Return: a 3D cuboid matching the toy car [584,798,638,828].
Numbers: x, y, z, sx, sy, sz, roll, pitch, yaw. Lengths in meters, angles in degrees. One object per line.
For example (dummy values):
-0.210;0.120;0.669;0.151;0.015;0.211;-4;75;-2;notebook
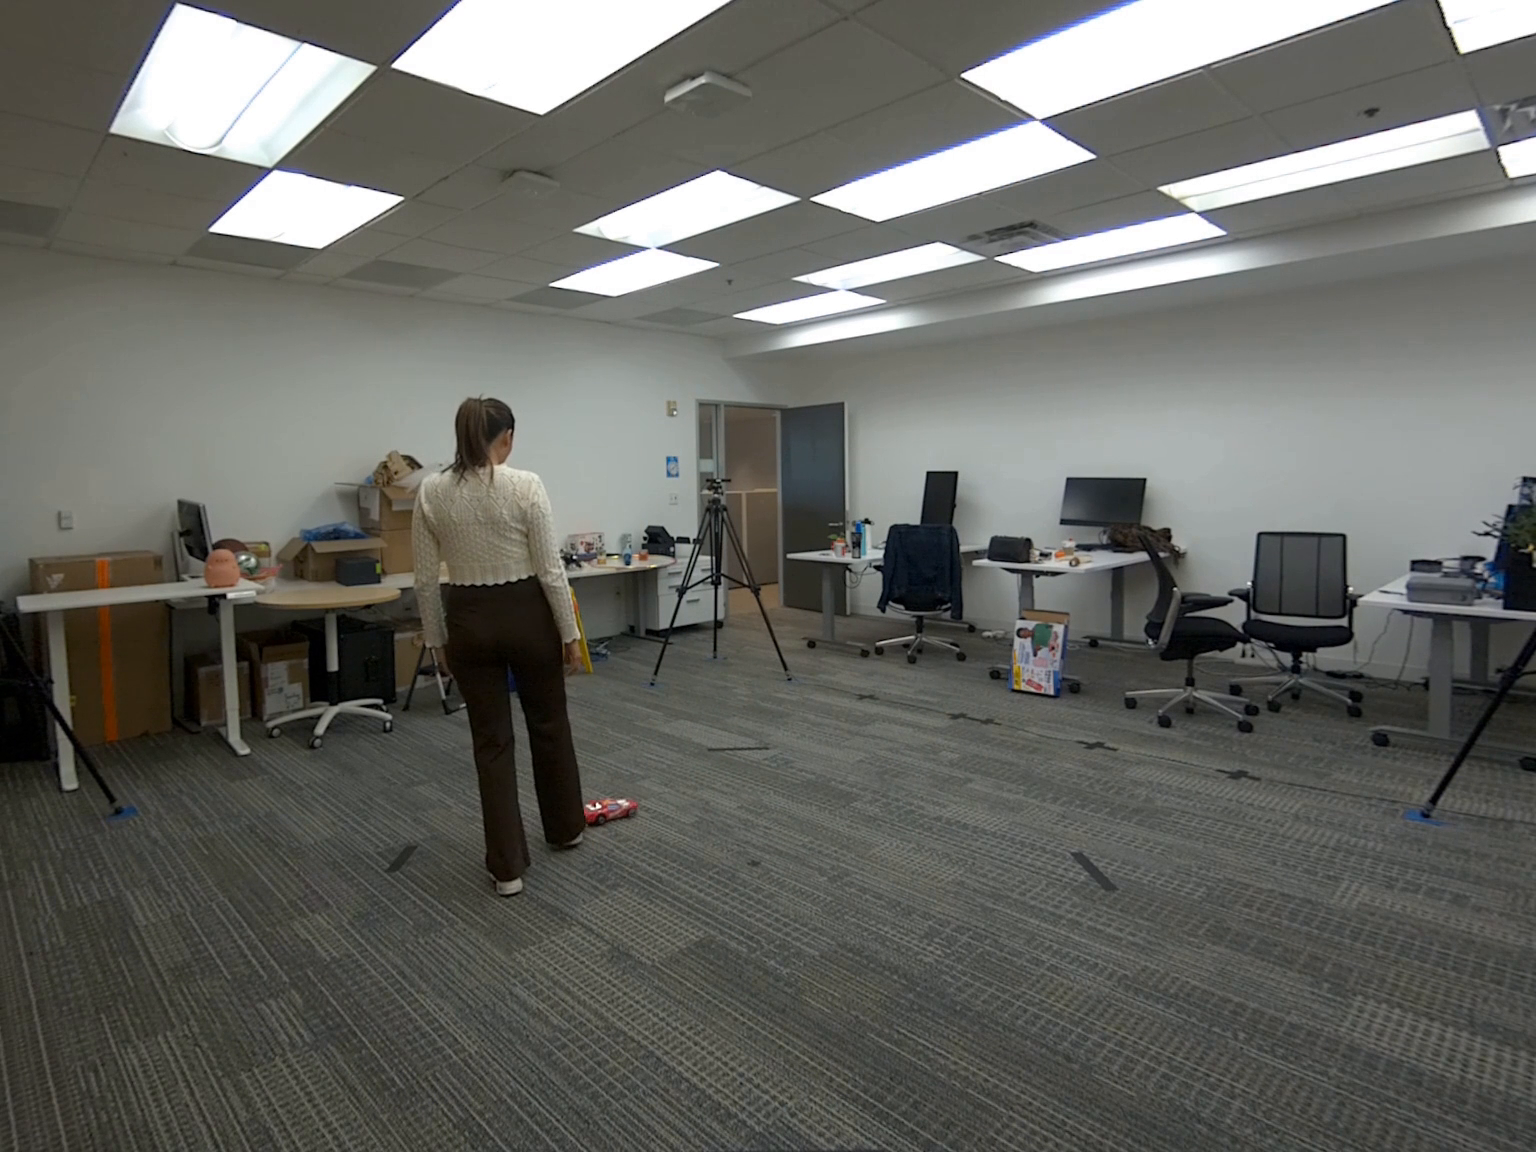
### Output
-0.674;0.973;3.541;0.247;0.083;0.134;9;-1;-34;toy car
